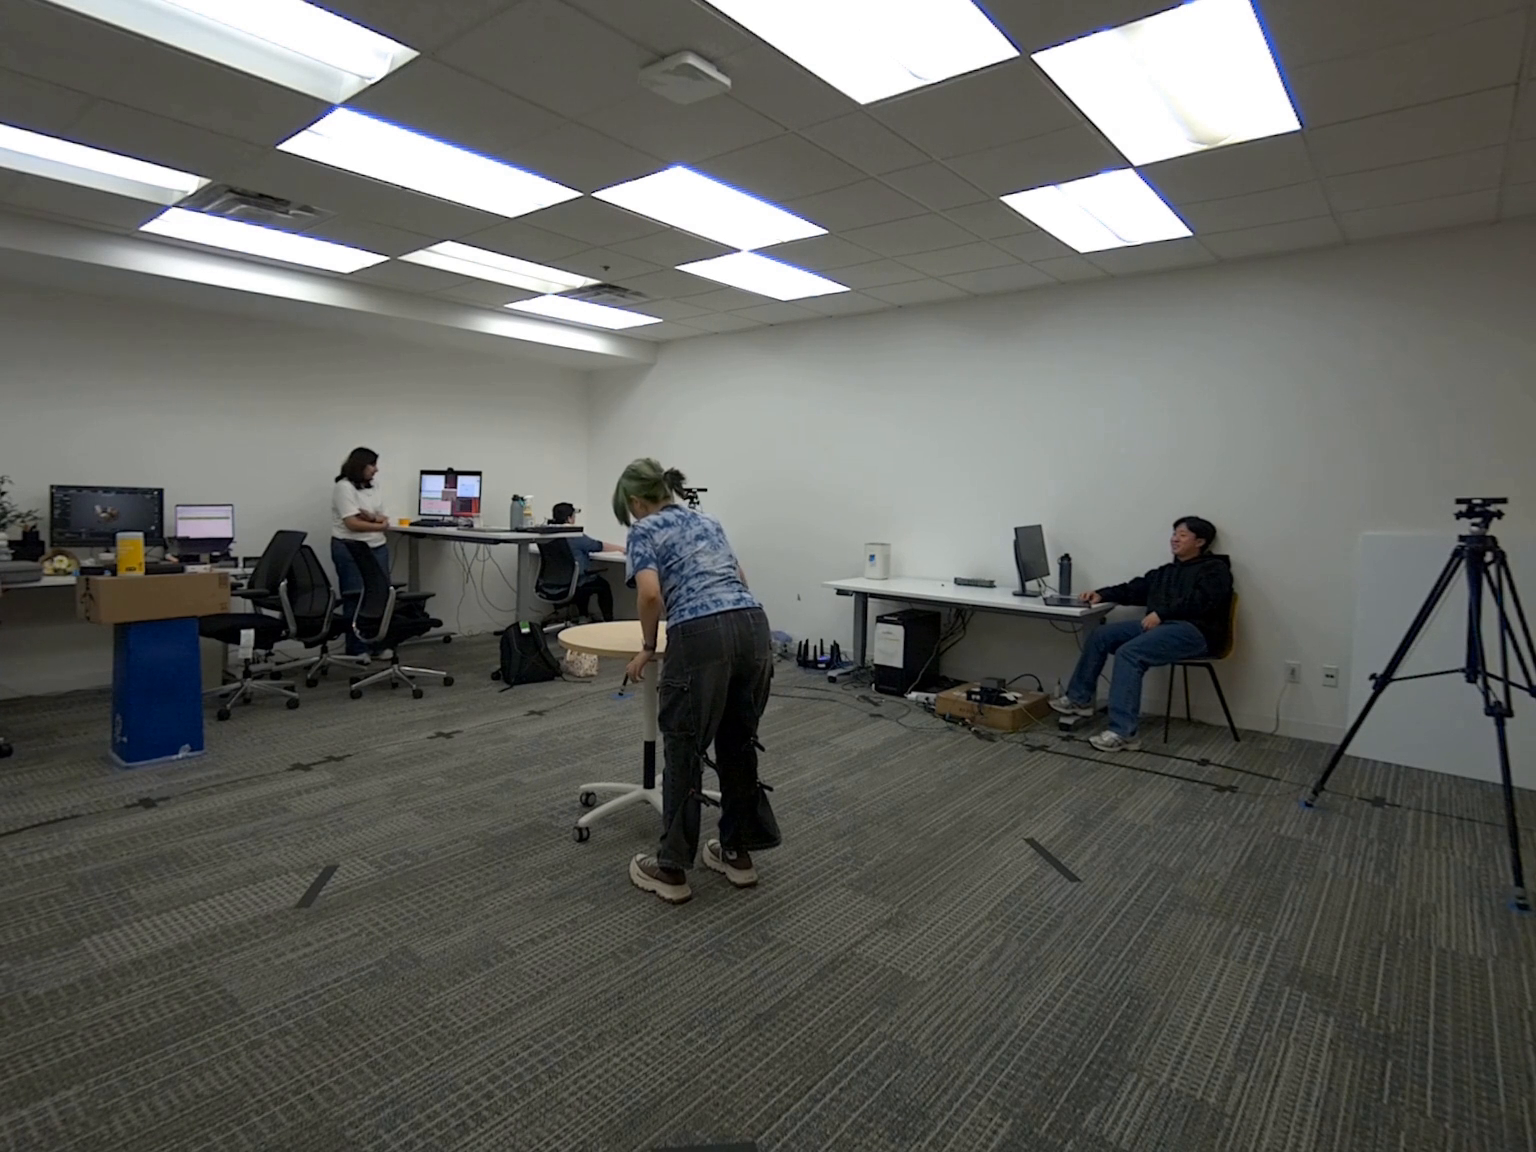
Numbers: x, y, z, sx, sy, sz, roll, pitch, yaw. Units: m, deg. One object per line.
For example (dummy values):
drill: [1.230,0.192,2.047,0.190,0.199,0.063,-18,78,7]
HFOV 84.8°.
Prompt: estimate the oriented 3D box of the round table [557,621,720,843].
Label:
round table: [-0.501,0.635,3.548,0.763,0.792,0.767,1,4,-2]
